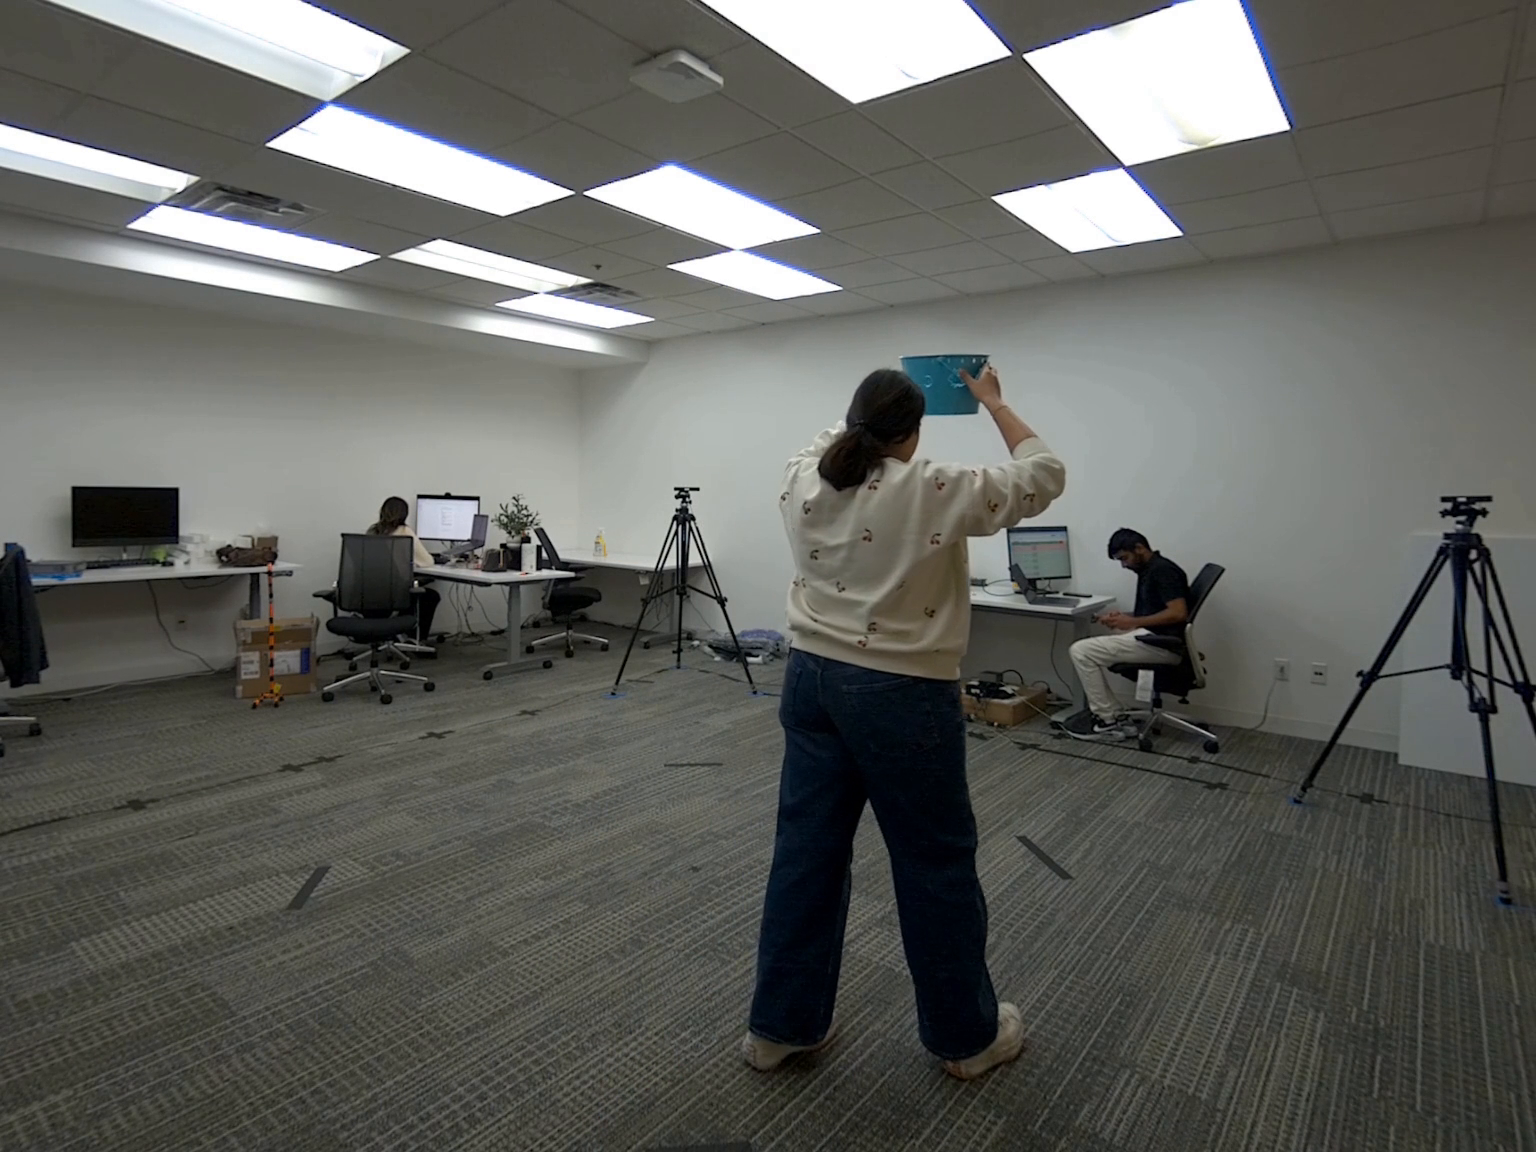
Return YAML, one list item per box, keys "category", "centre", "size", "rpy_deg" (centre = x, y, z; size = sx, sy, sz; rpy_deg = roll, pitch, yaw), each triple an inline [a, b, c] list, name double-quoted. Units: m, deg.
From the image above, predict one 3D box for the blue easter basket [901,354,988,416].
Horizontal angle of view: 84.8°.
- category: "blue easter basket"
  centre: [0.467, -0.510, 2.239]
  size: [0.243, 0.154, 0.246]
  rpy_deg: [-2, 12, -2]
